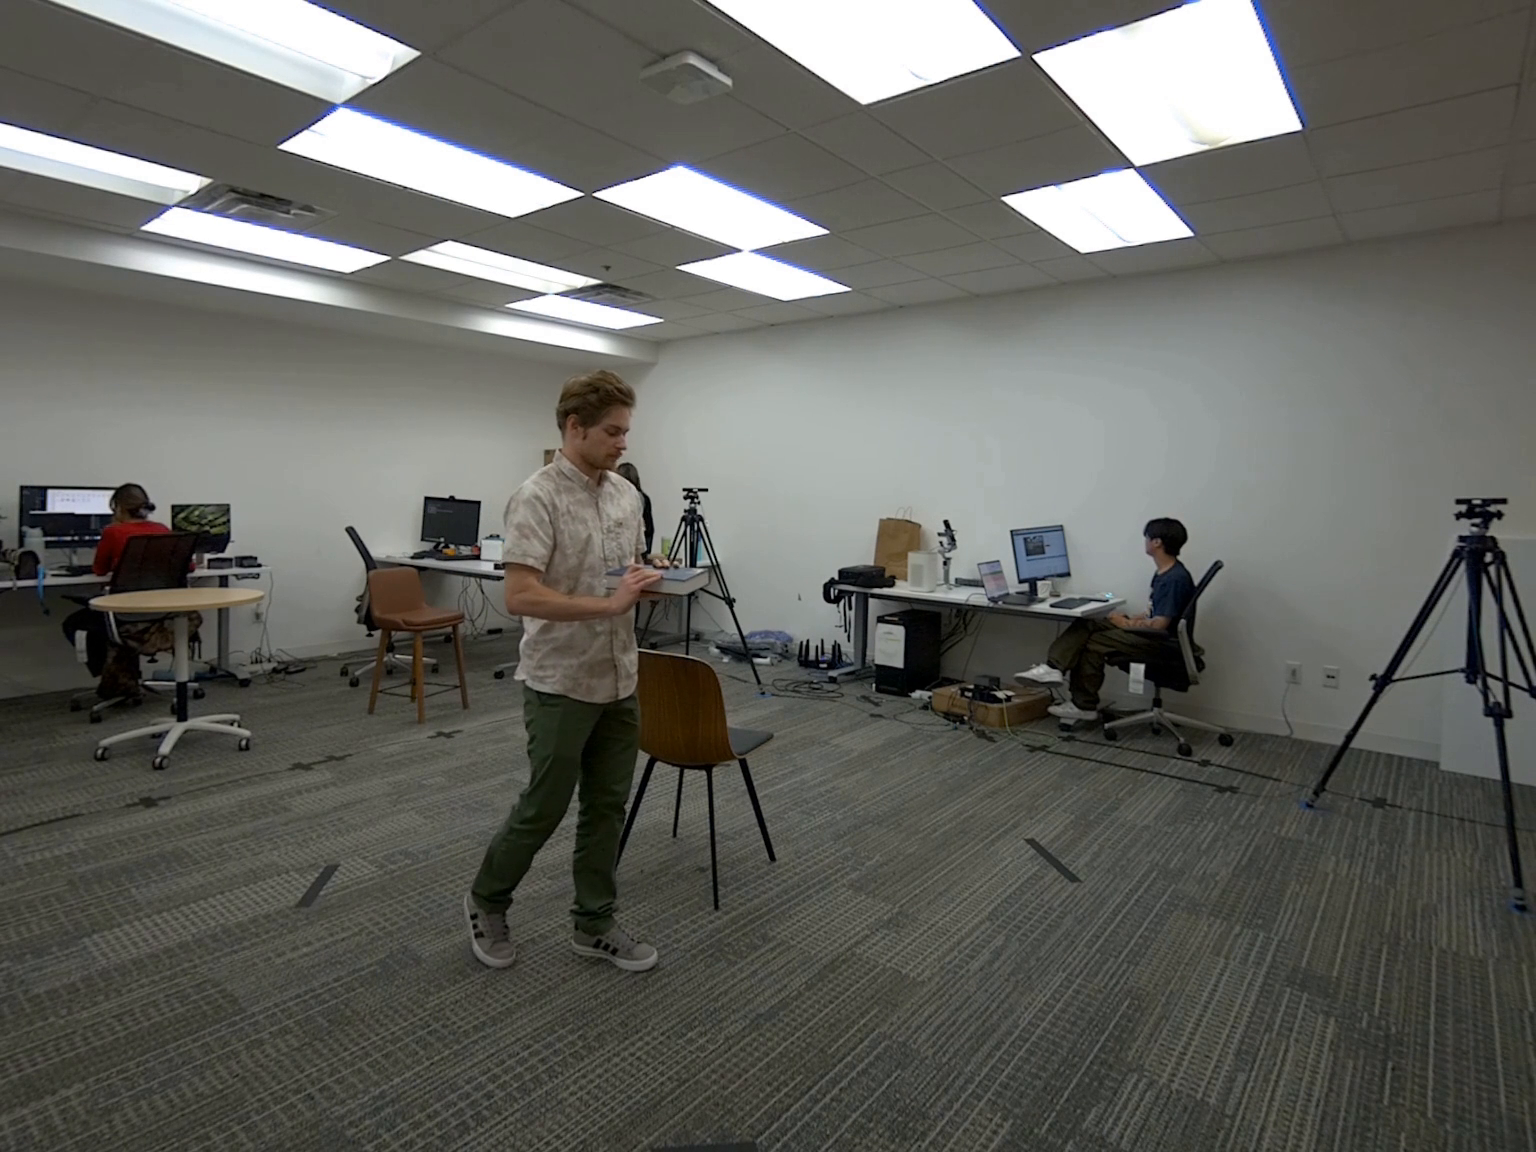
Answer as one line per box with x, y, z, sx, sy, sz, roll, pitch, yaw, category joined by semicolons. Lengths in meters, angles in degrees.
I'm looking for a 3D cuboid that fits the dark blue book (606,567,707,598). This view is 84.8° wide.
-0.331;0.014;2.301;0.249;0.045;0.162;2;9;15;dark blue book
